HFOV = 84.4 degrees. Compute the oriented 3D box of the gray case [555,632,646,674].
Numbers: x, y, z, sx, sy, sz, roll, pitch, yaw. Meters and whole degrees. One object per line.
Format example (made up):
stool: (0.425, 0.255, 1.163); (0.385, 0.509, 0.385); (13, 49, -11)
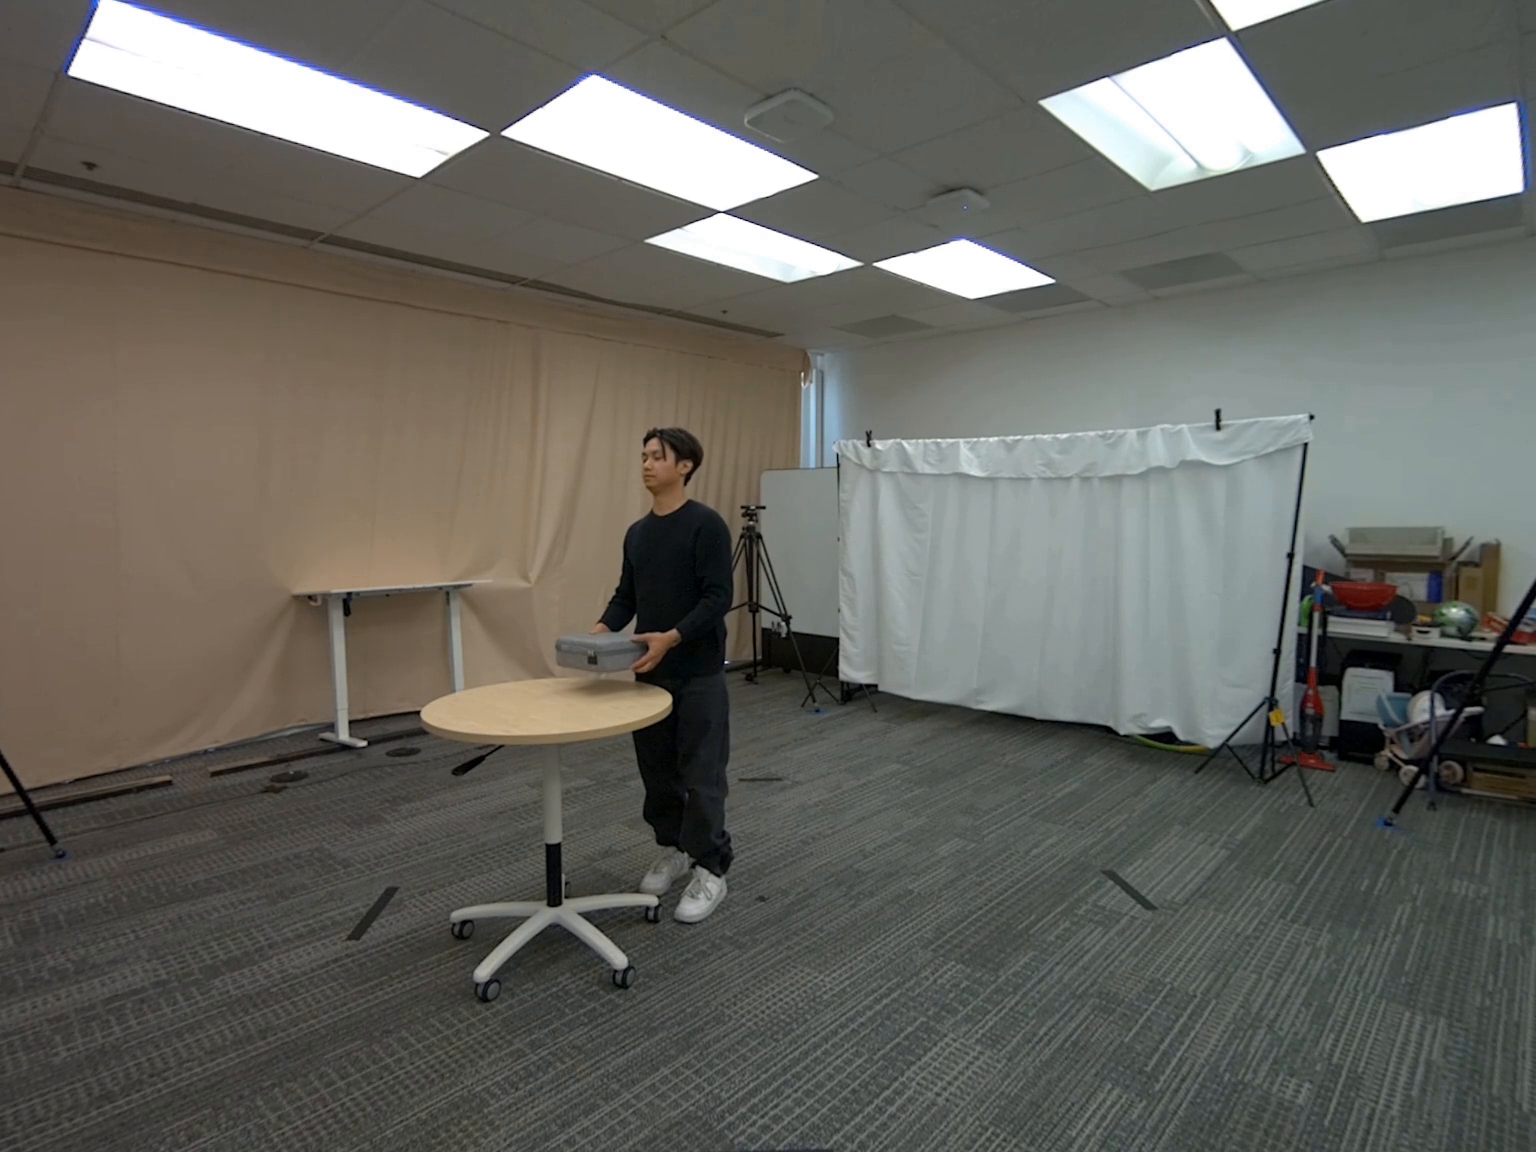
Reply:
gray case: (-0.548, 0.251, 2.808); (0.265, 0.104, 0.252); (1, 3, 42)
